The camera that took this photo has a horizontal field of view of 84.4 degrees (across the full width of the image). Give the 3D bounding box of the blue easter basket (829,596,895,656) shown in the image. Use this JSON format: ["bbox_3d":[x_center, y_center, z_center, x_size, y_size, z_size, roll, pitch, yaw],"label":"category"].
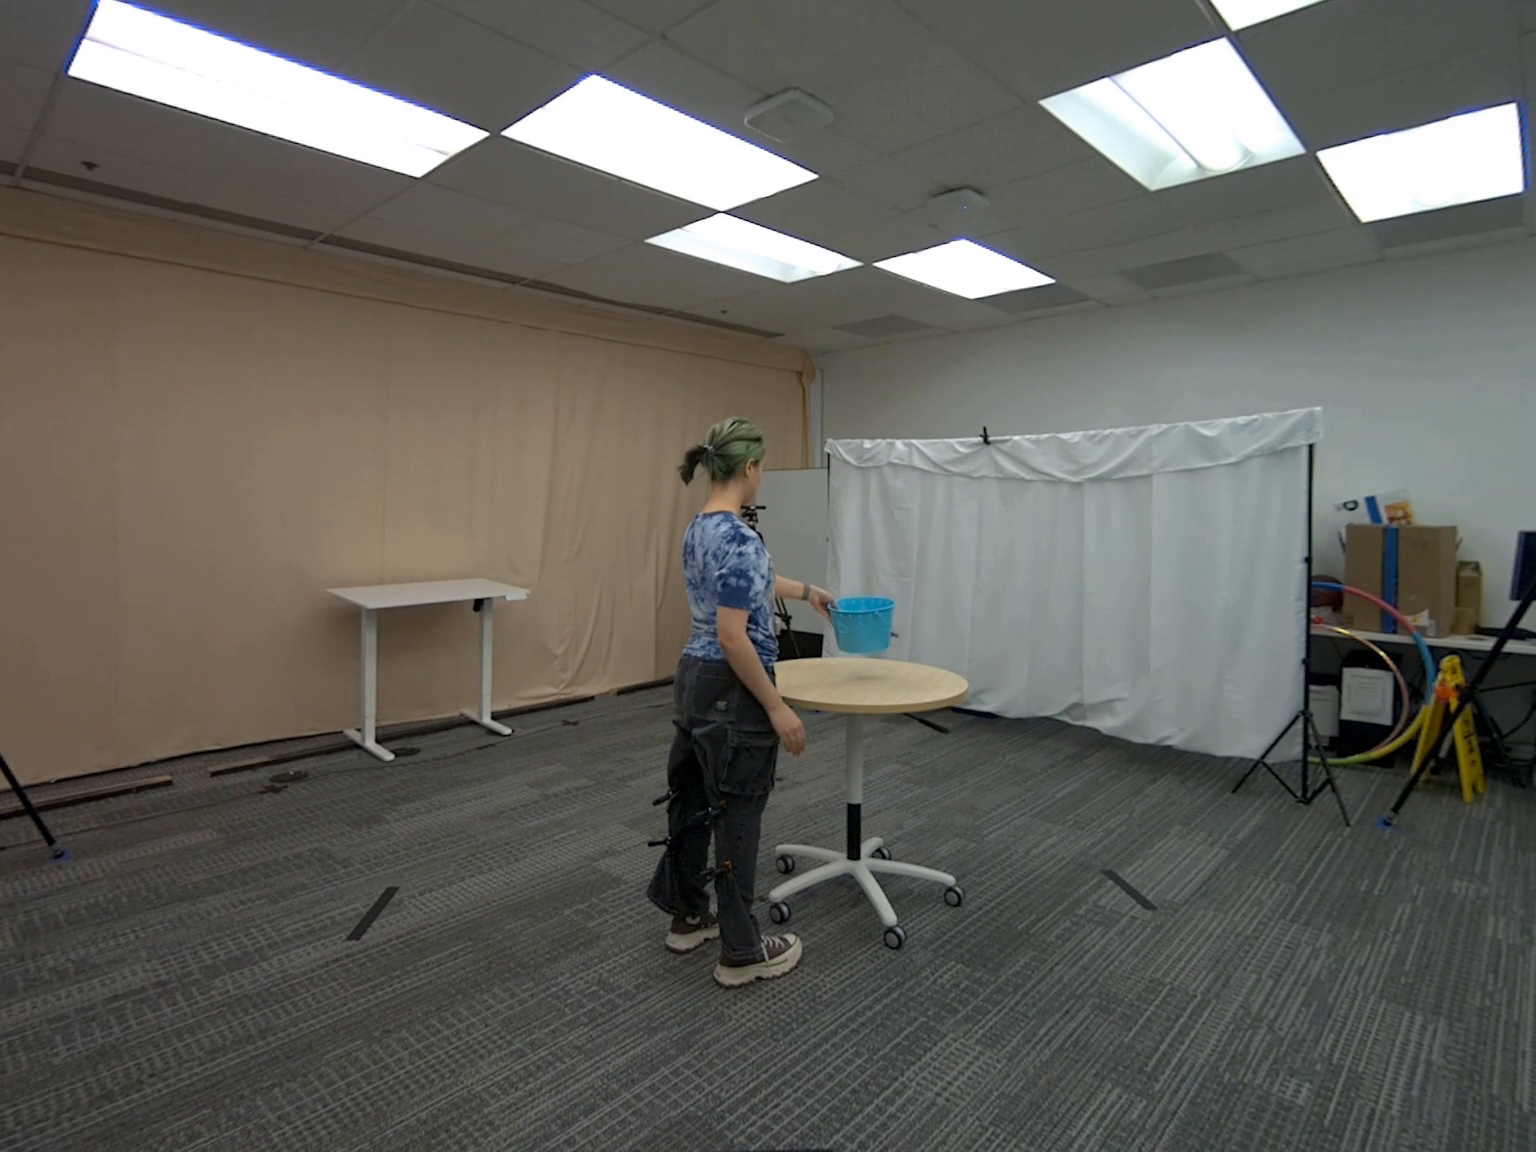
[{"bbox_3d":[0.347,0.175,2.916,0.243,0.155,0.245,-5,11,-1],"label":"blue easter basket"}]
